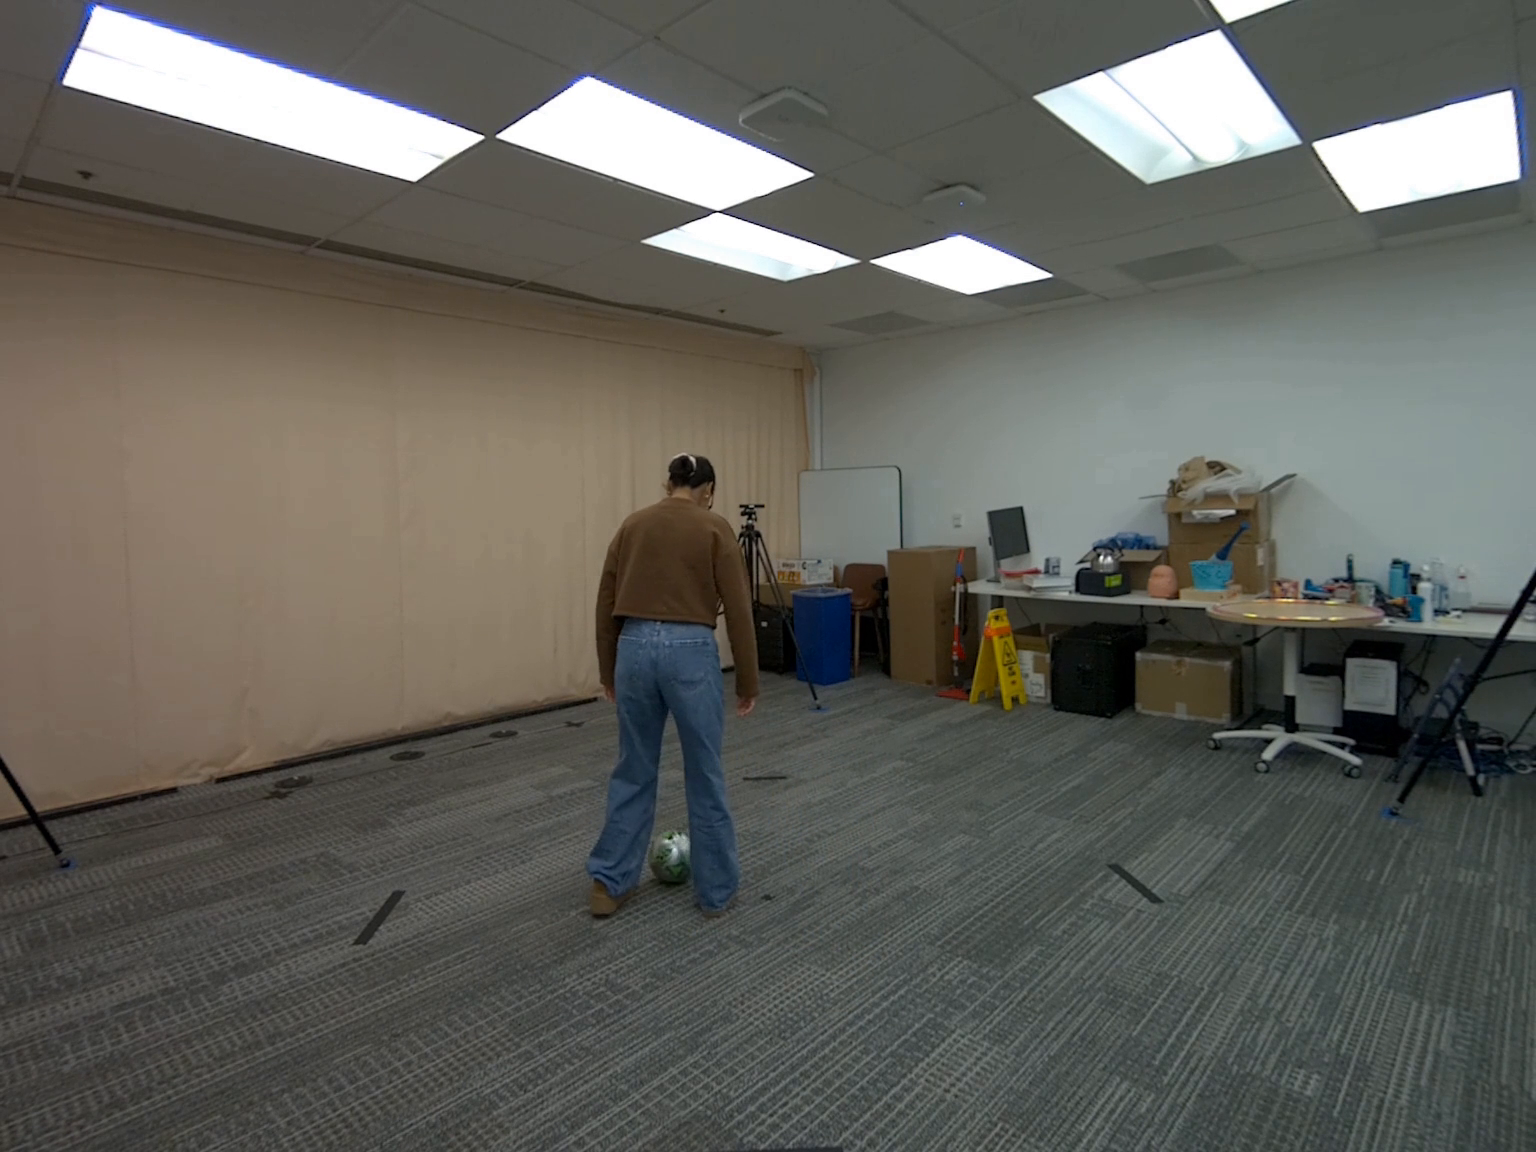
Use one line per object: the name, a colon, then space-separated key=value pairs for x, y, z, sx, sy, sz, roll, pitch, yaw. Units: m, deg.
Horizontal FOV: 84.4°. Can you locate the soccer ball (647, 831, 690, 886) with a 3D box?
soccer ball: x=-0.351 y=1.043 z=3.132 sx=0.187 sy=0.187 sz=0.188 roll=-1 pitch=4 yaw=-2
